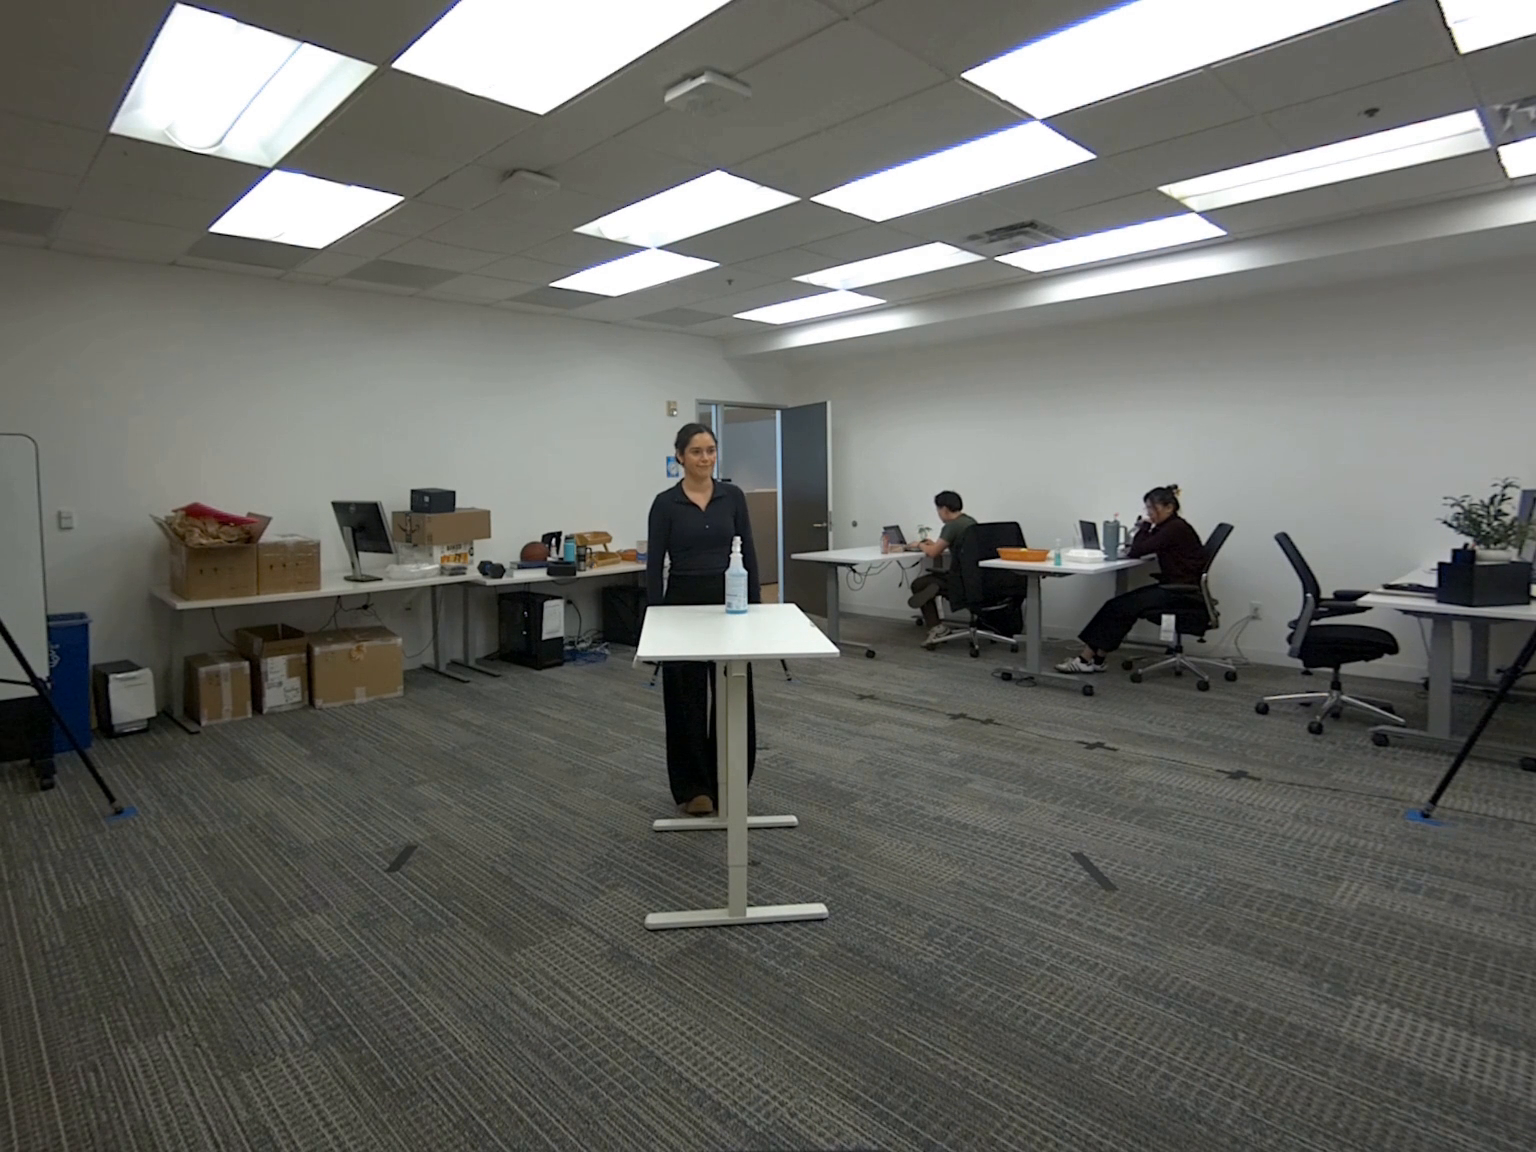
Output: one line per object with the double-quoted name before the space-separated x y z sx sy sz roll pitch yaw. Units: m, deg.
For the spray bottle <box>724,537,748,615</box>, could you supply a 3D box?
"spray bottle" -0.127 -0.002 3.307 0.088 0.296 0.089 1 4 15
